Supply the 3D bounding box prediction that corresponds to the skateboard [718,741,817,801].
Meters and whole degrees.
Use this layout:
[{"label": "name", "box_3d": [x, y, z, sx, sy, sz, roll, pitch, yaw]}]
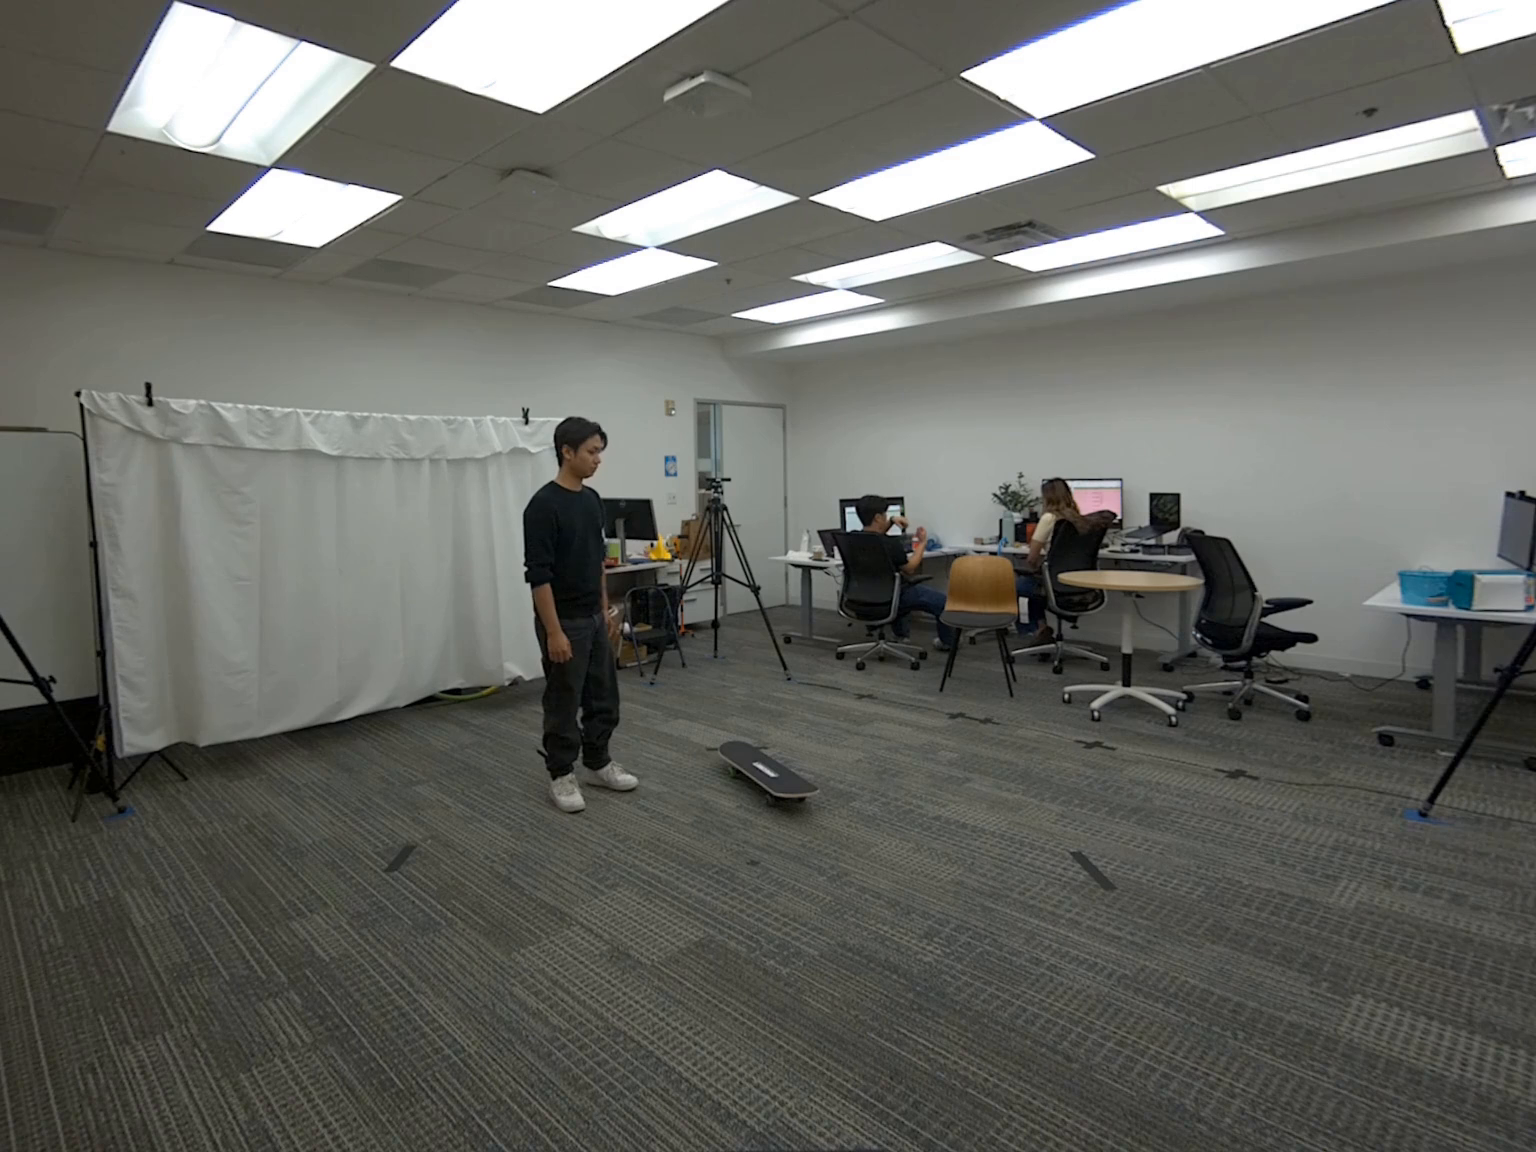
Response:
[{"label": "skateboard", "box_3d": [-0.009, 0.898, 3.838, 0.189, 0.110, 0.805, -3, 6, -25]}]
